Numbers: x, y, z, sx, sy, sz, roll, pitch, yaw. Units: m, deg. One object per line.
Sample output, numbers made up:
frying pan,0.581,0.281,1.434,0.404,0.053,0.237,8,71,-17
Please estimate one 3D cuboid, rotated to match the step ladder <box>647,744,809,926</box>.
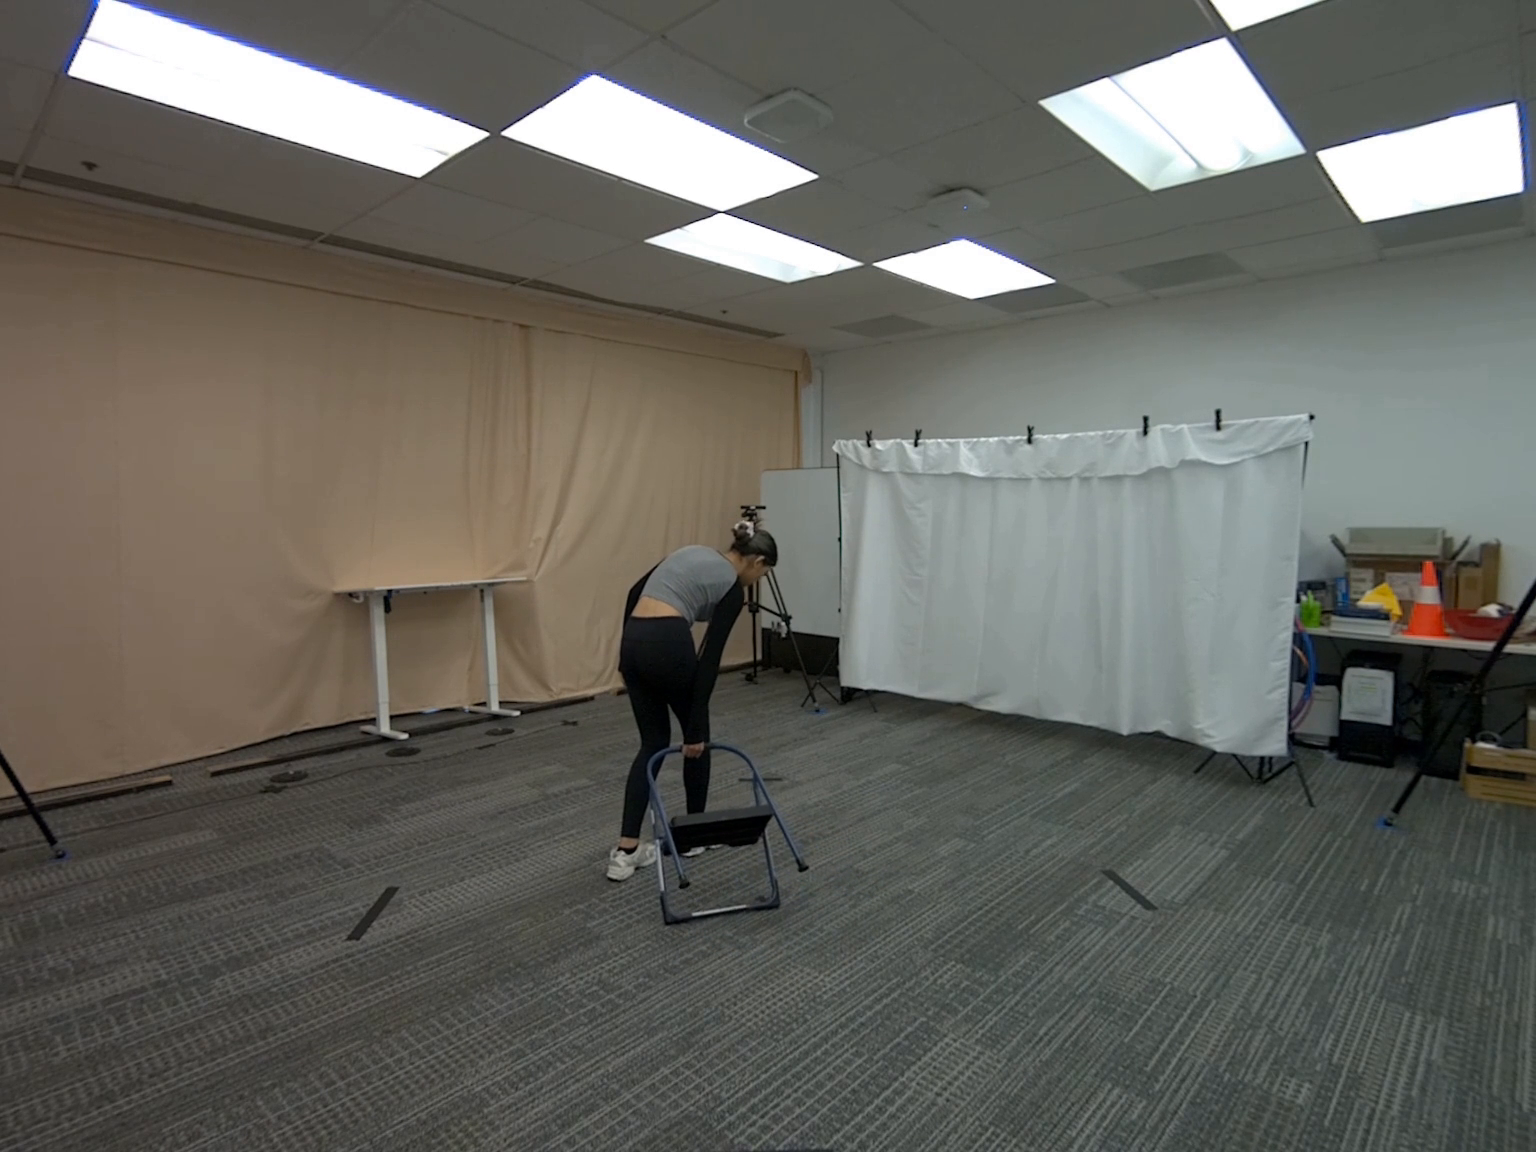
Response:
step ladder,-0.176,0.818,2.936,0.422,0.346,0.623,-1,48,-20
